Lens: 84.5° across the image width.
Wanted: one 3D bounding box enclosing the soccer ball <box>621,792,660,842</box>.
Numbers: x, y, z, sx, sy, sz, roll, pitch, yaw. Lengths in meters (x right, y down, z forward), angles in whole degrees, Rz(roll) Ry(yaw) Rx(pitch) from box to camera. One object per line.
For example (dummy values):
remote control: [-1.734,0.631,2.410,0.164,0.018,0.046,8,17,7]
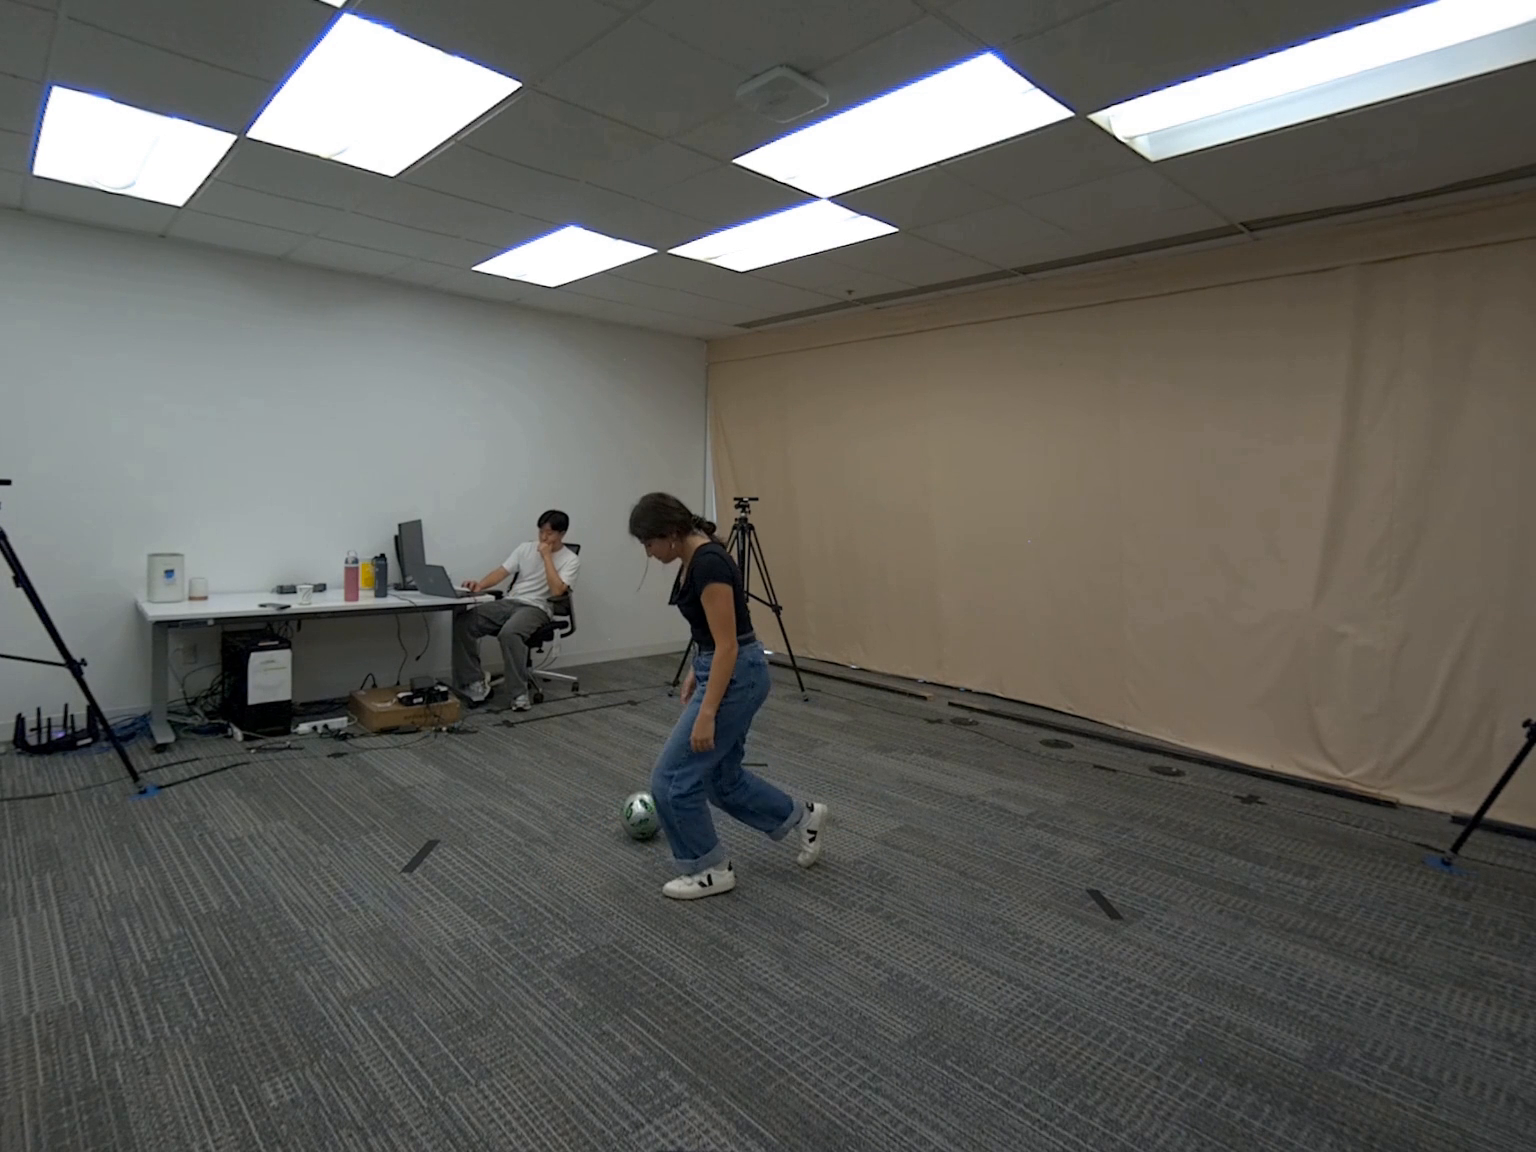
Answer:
soccer ball: [-0.519,0.975,3.431,0.187,0.187,0.188,1,4,-1]
